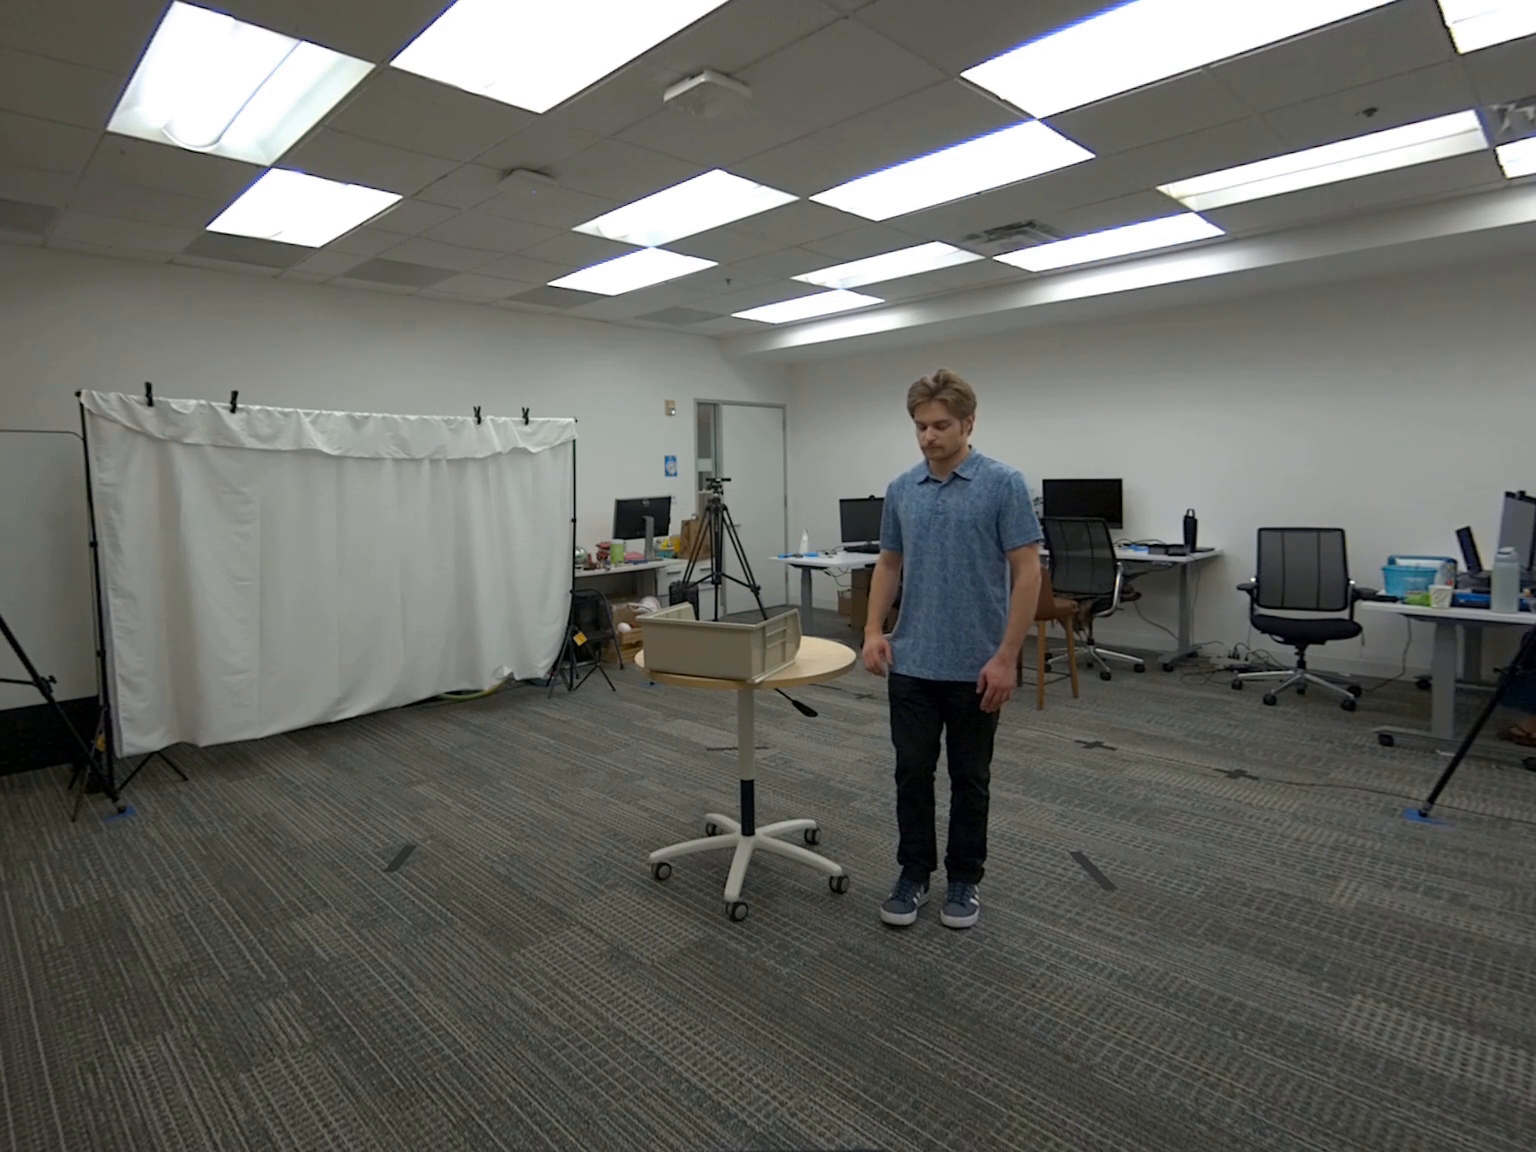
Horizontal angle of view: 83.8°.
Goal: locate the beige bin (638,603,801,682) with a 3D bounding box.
[{"bbox_3d":[-0.152,0.206,2.803,0.433,0.188,0.371,3,9,26],"label":"beige bin"}]
